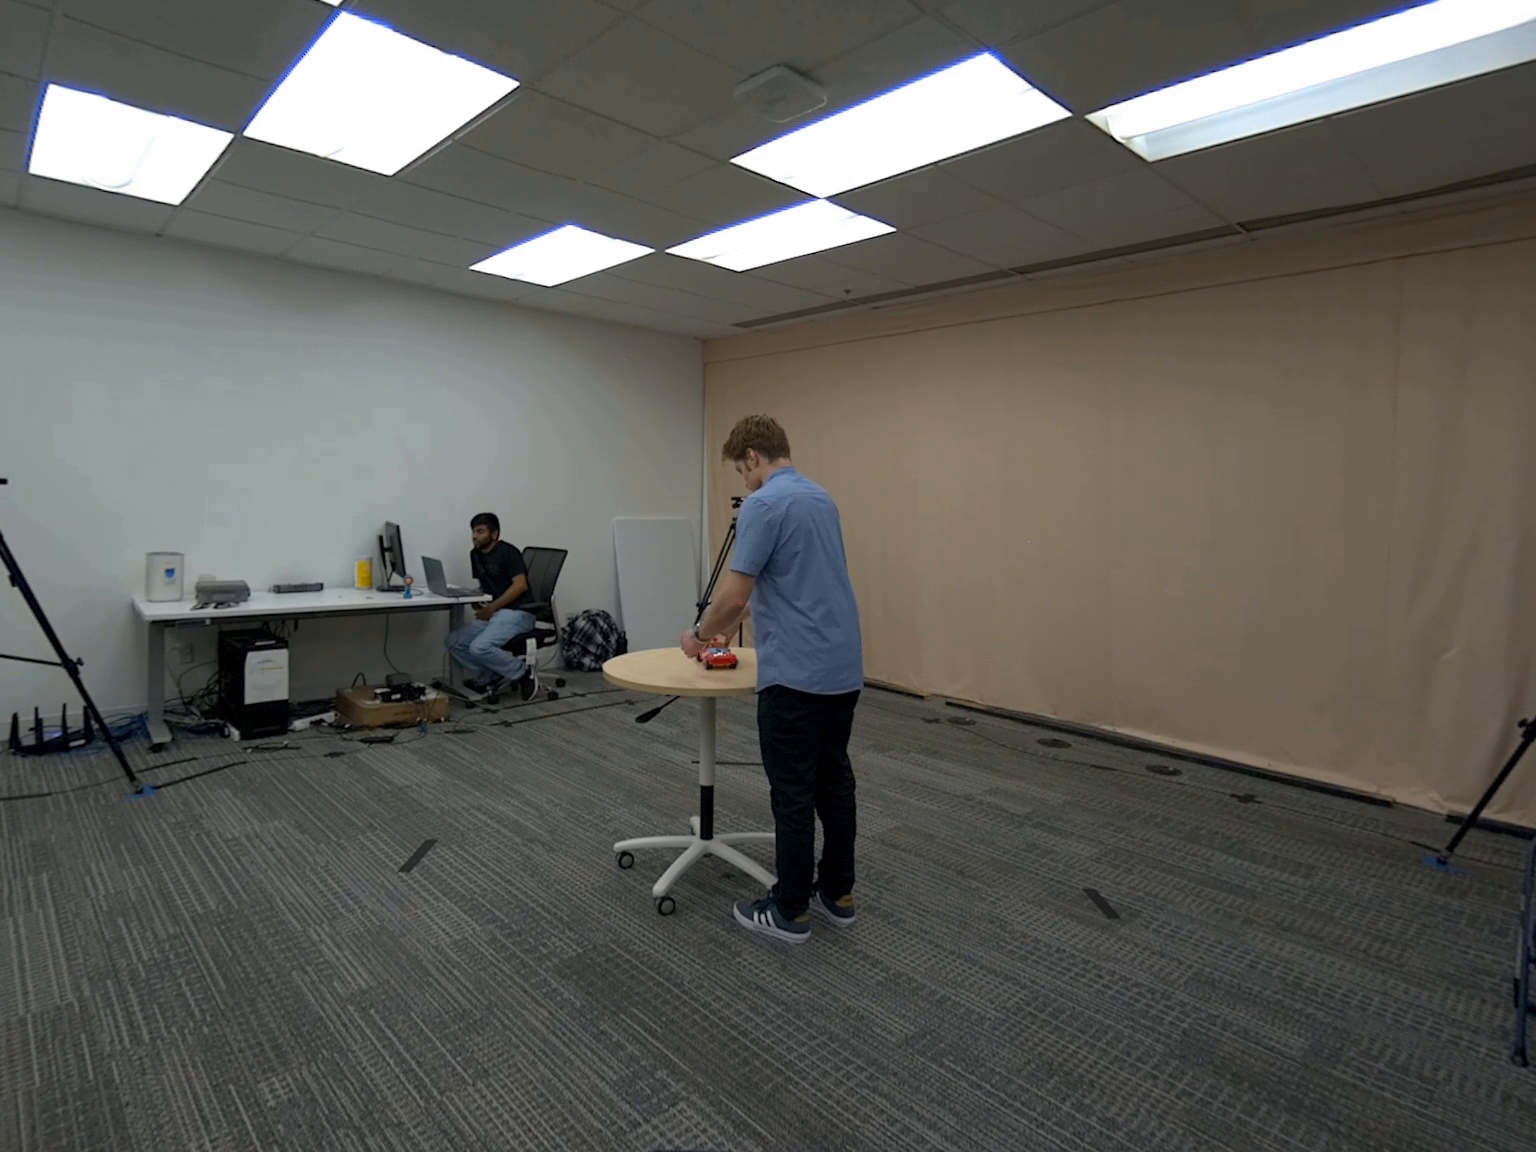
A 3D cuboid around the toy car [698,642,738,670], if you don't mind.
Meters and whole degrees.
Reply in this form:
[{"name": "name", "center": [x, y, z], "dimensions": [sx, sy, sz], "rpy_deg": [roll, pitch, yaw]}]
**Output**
[{"name": "toy car", "center": [-0.201, 0.293, 3.096], "dimensions": [0.129, 0.082, 0.260], "rpy_deg": [0, 15, -15]}]
